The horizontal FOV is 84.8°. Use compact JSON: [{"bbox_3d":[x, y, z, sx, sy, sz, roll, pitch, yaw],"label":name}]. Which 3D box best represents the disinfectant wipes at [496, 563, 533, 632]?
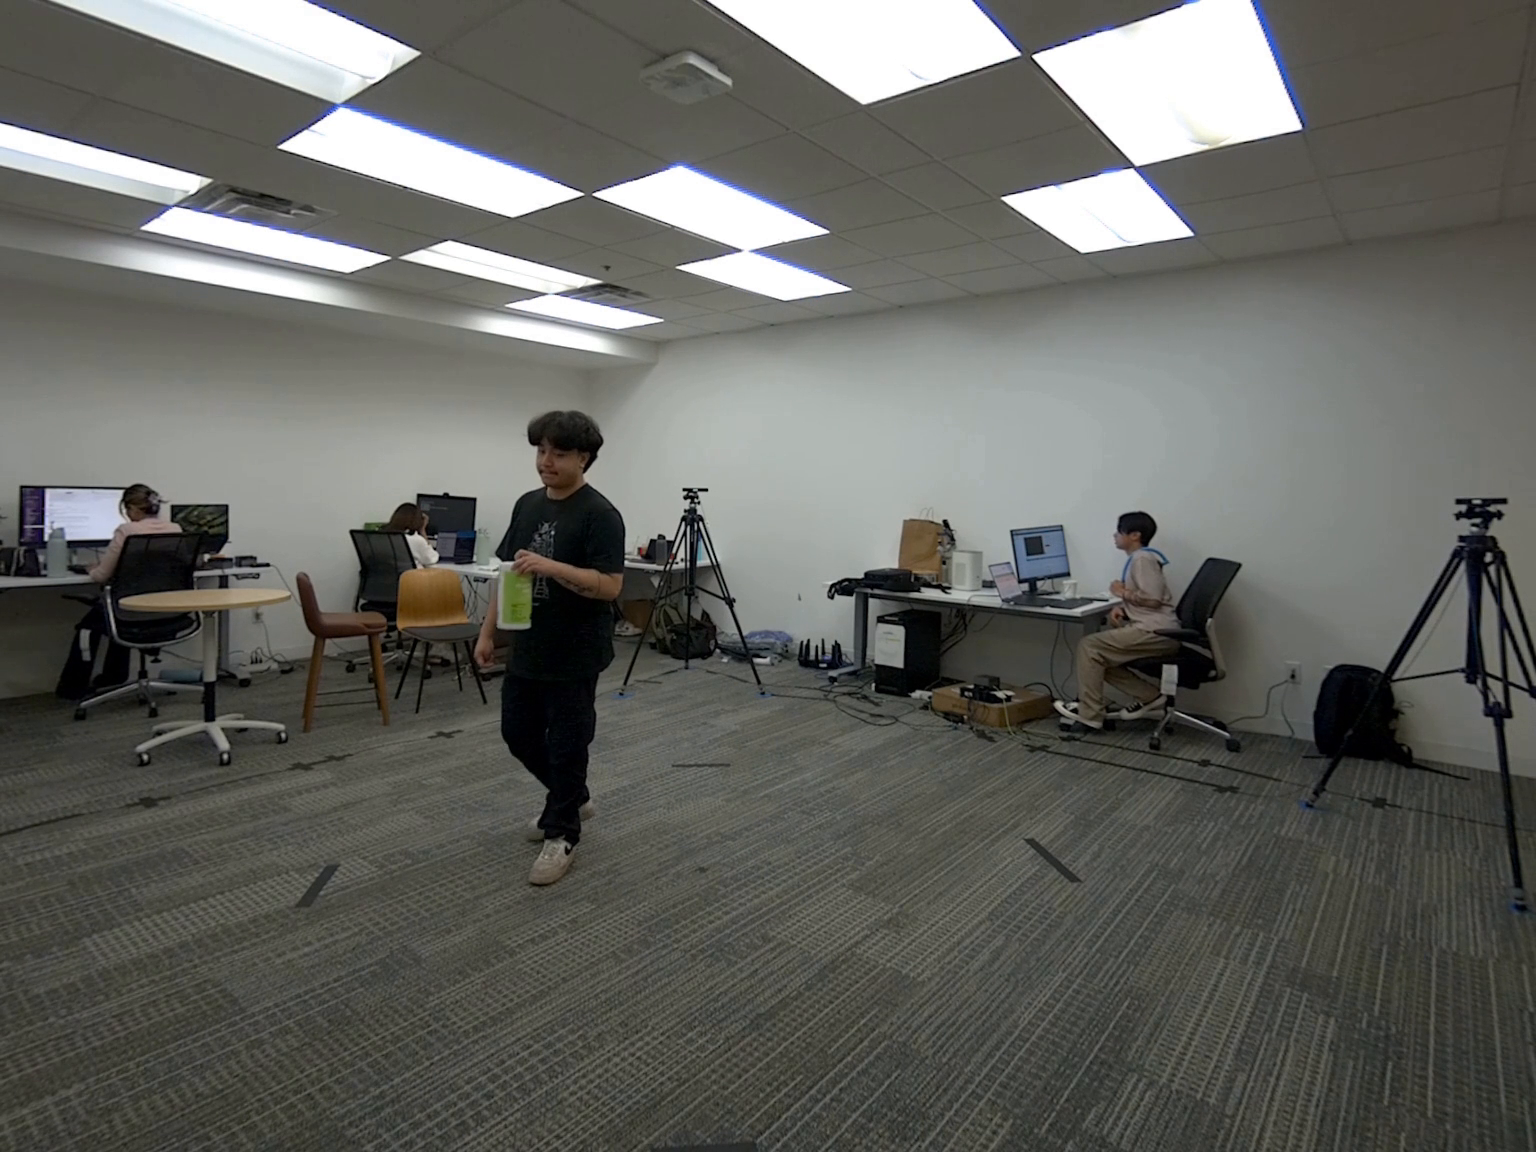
[{"bbox_3d":[-0.842,0.058,2.784,0.118,0.217,0.118,1,3,-2],"label":"disinfectant wipes"}]
